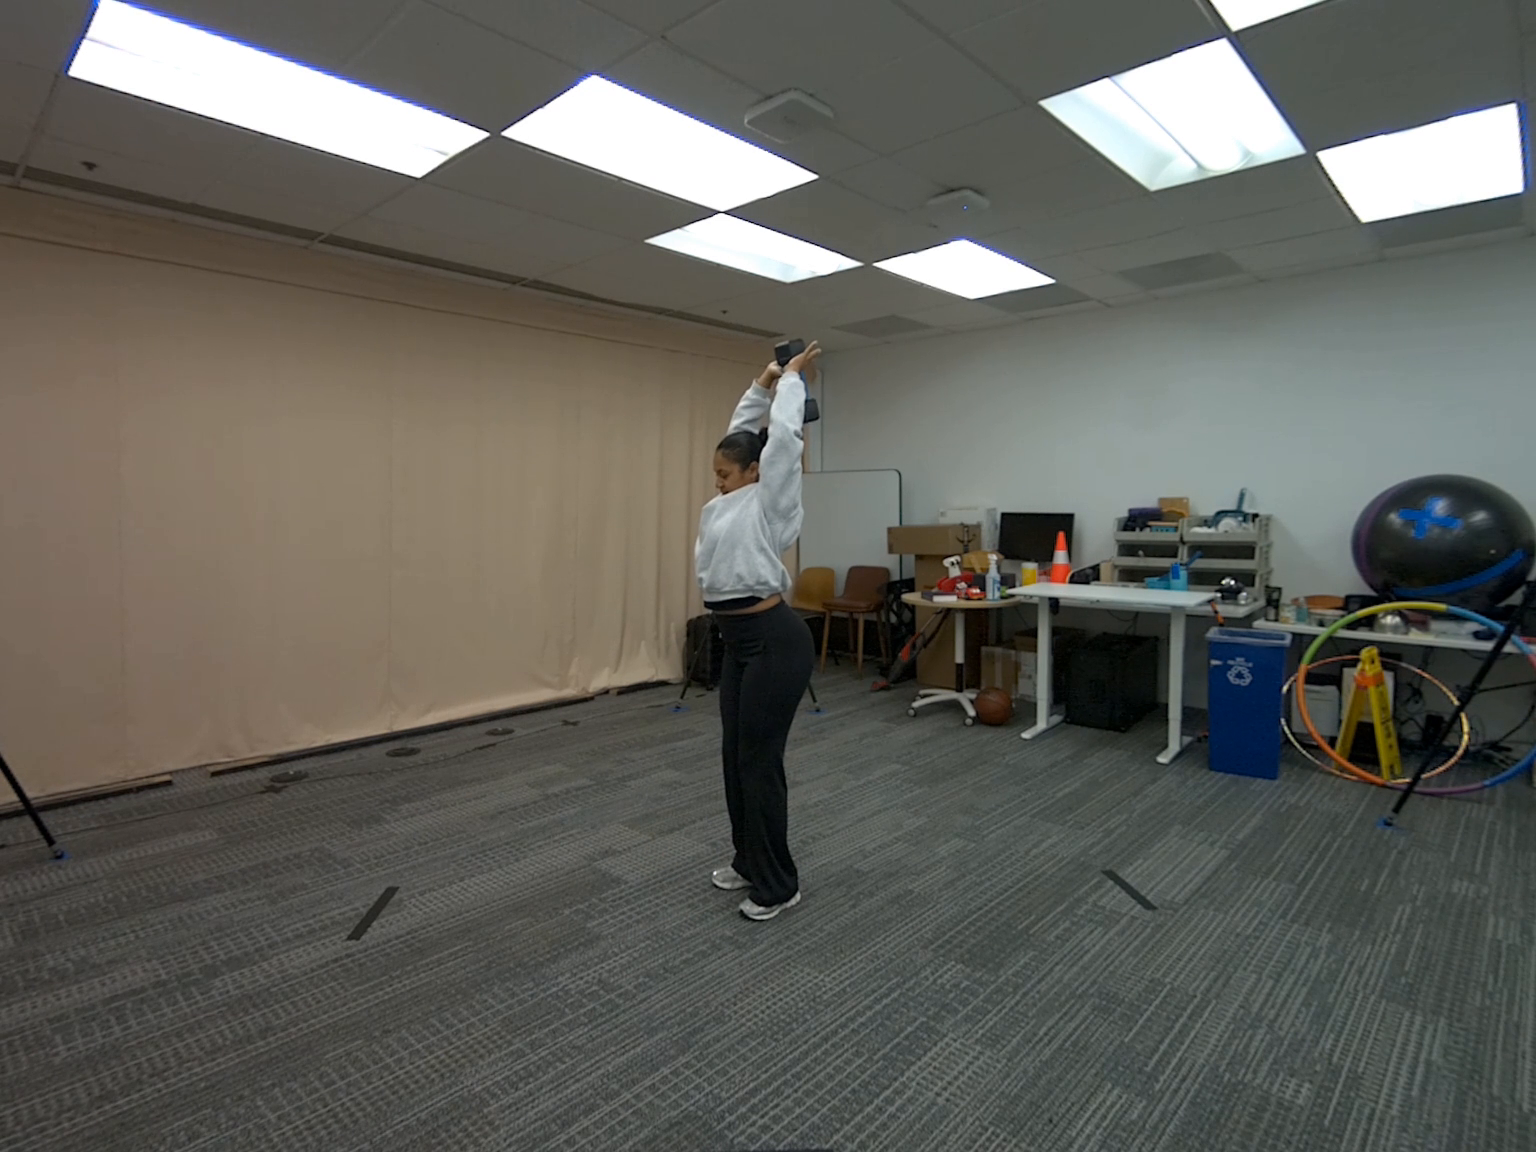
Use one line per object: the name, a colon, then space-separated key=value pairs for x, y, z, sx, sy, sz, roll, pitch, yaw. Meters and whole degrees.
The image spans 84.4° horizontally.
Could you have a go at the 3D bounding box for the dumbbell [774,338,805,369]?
dumbbell: x=0.109 y=-0.673 z=2.985 sx=0.126 sy=0.291 sz=0.107 roll=-6 pitch=14 yaw=35
